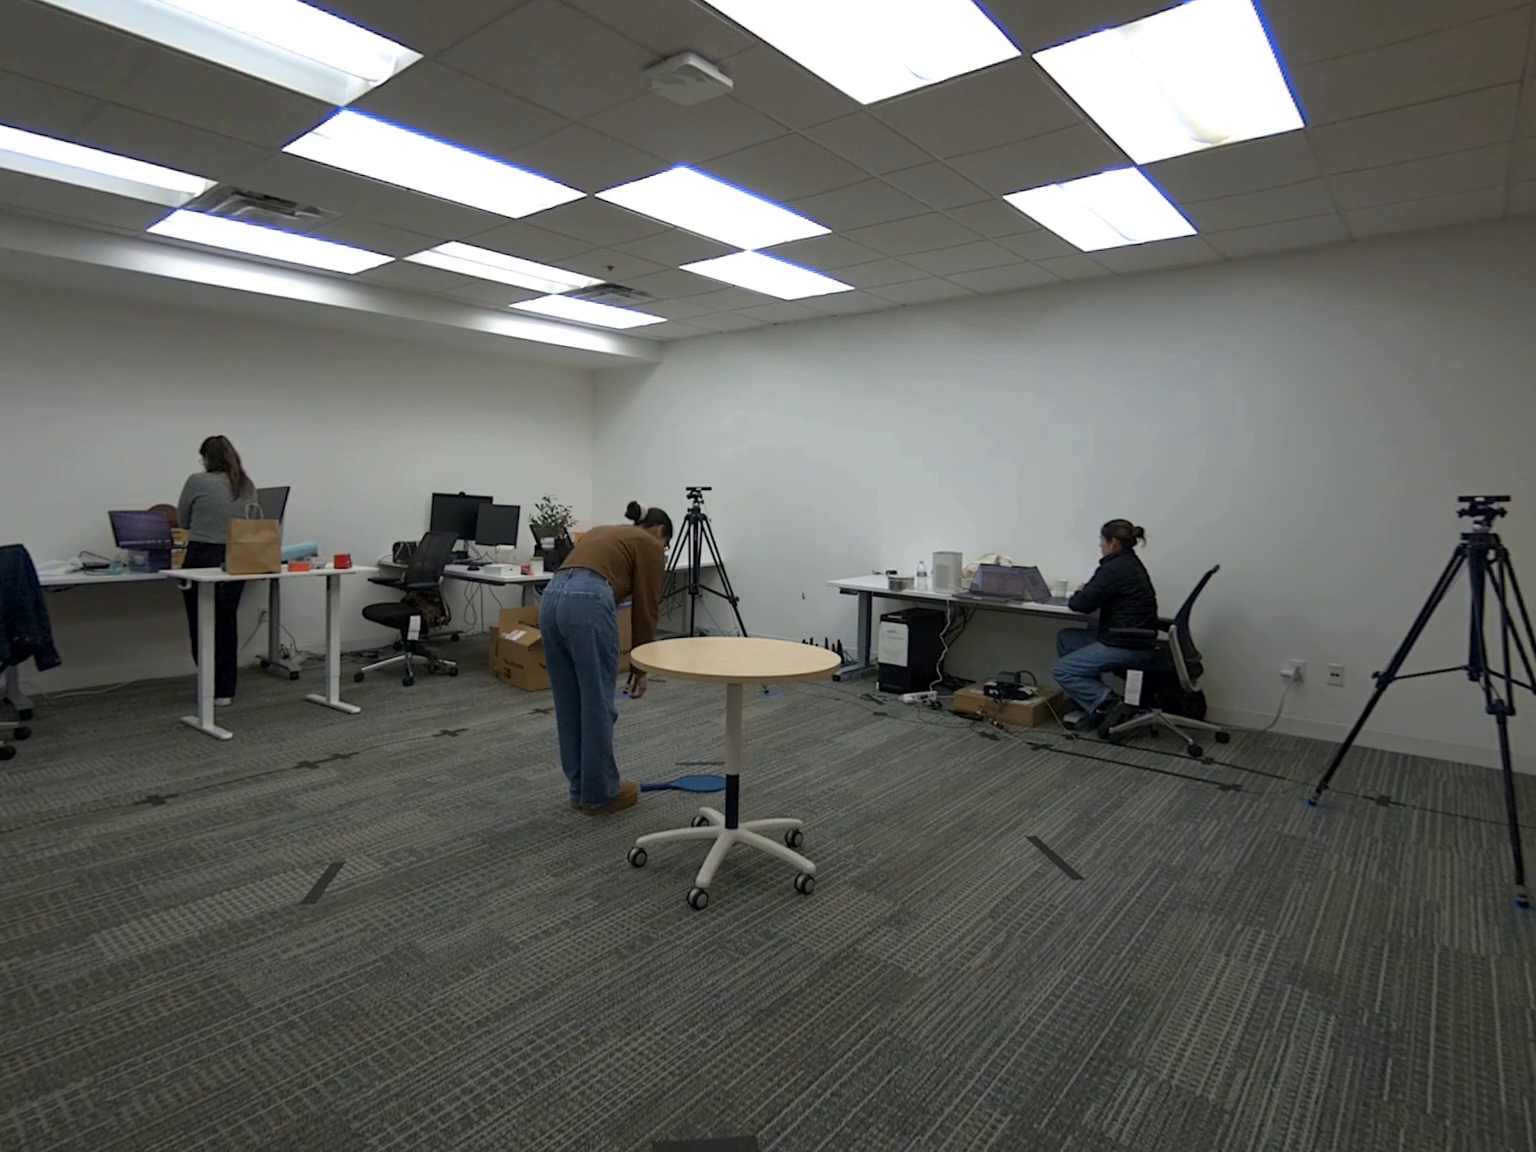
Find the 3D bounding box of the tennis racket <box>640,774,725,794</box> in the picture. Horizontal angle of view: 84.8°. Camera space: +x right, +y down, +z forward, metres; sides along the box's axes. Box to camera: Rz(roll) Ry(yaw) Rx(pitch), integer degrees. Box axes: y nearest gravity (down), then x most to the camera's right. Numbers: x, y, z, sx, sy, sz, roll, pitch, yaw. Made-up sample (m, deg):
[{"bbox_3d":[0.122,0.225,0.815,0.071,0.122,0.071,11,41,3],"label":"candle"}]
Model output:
[{"bbox_3d":[-0.405,0.965,3.965,0.425,0.031,0.218,-1,5,-18],"label":"tennis racket"}]
